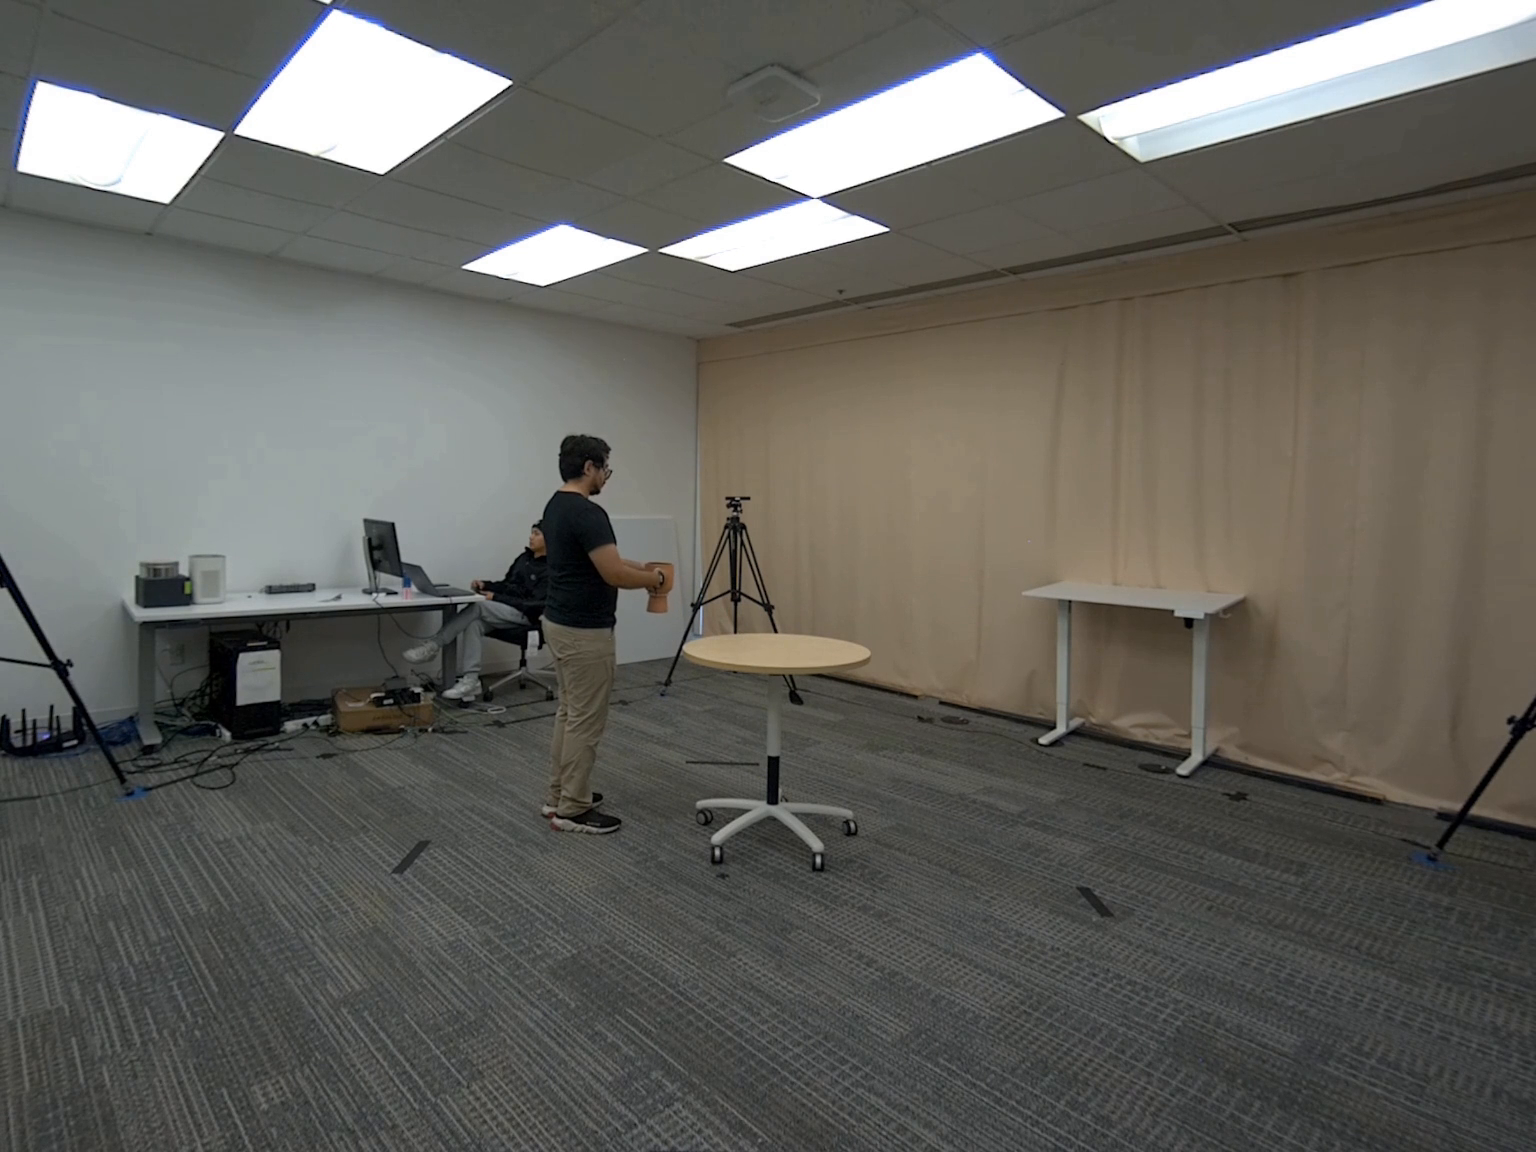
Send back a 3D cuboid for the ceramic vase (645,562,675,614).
[{"bbox_3d":[-0.517,0.053,3.819,0.133,0.219,0.161,4,4,-18],"label":"ceramic vase"}]
